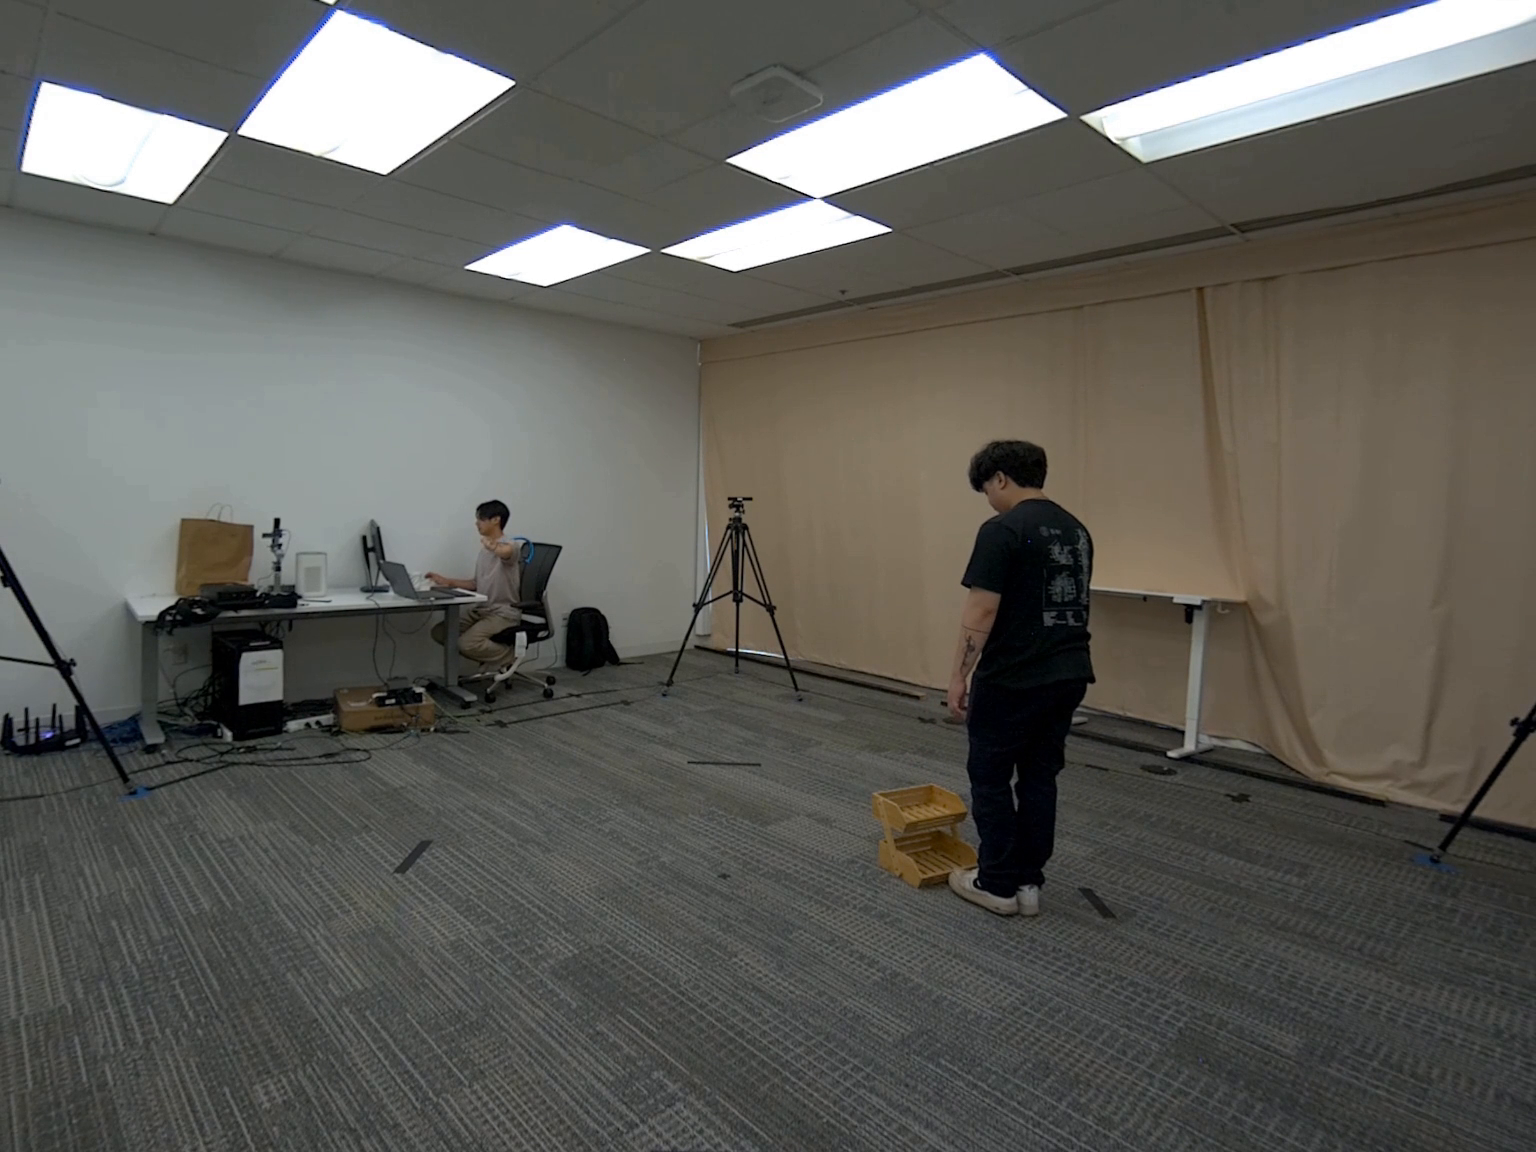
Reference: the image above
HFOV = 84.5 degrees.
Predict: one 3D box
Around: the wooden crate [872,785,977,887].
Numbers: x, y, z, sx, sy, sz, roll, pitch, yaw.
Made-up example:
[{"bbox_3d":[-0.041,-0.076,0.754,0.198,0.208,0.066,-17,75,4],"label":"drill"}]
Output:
[{"bbox_3d":[0.603,0.985,3.219,0.318,0.273,0.309,0,4,-29],"label":"wooden crate"}]
